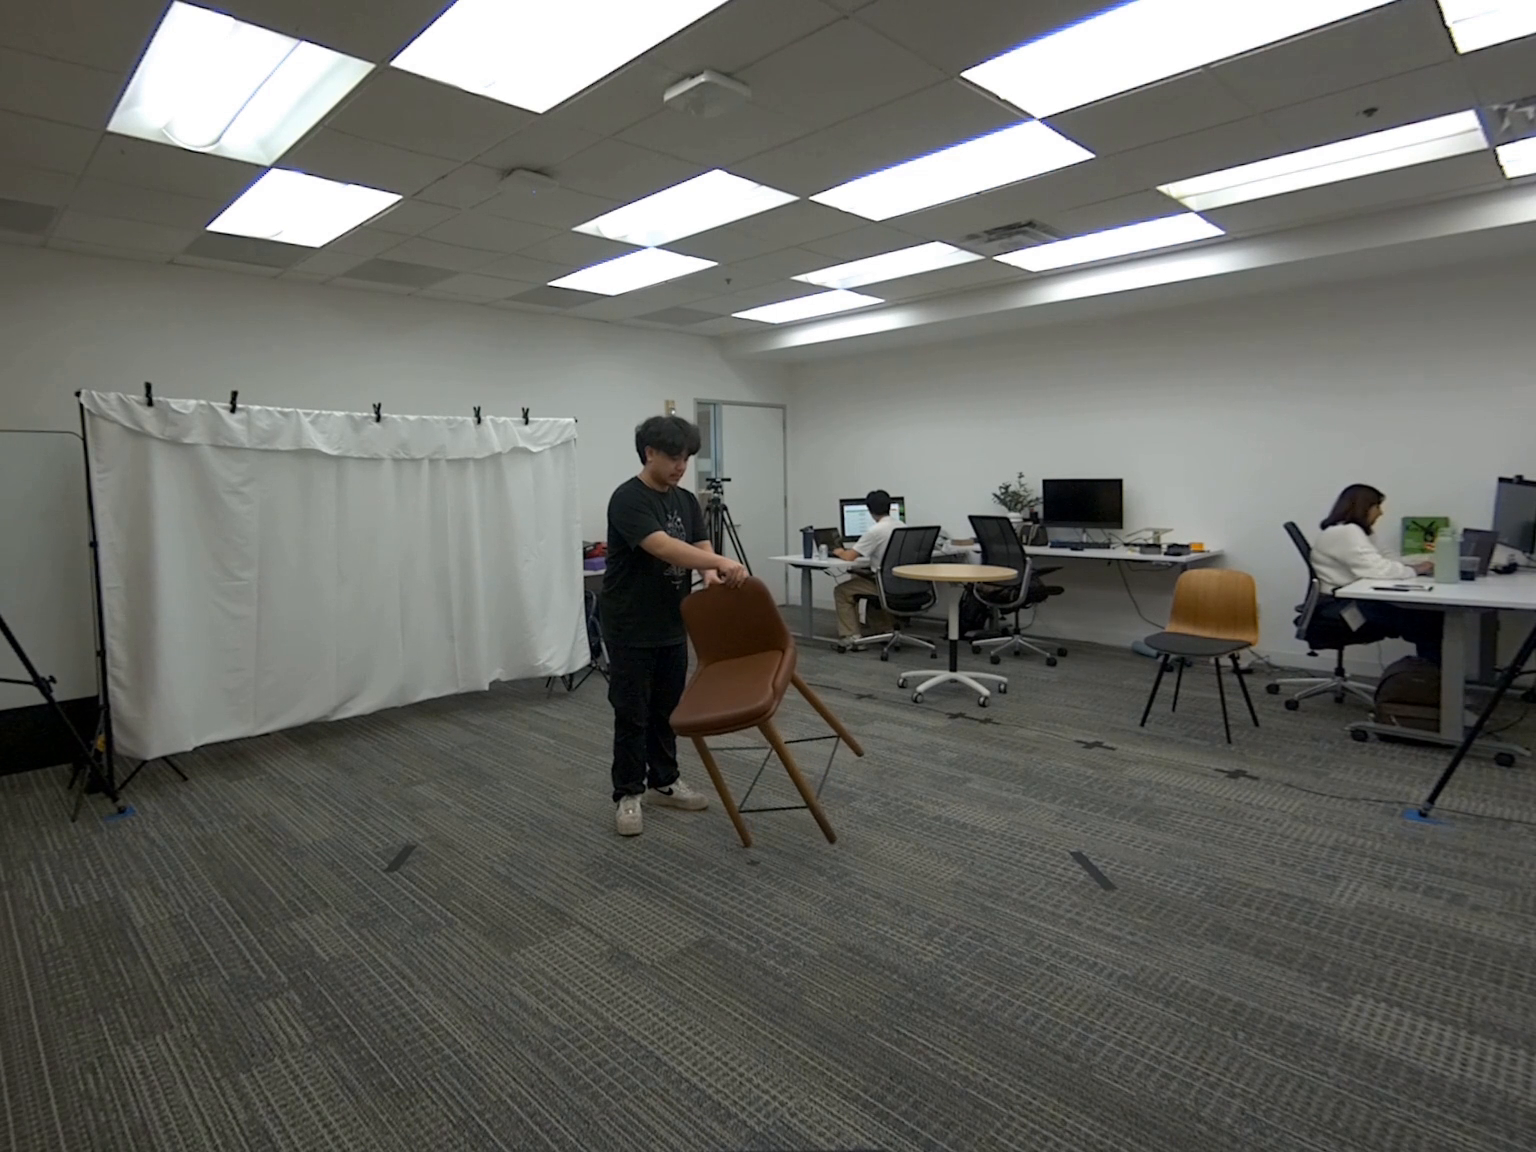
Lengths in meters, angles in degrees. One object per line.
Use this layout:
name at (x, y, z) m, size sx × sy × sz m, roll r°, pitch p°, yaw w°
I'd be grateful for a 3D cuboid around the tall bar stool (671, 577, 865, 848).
tall bar stool at (-0.048, 0.510, 3.167) m, size 0.465 × 0.870 × 0.469 m, roll -16°, pitch 22°, yaw 35°
